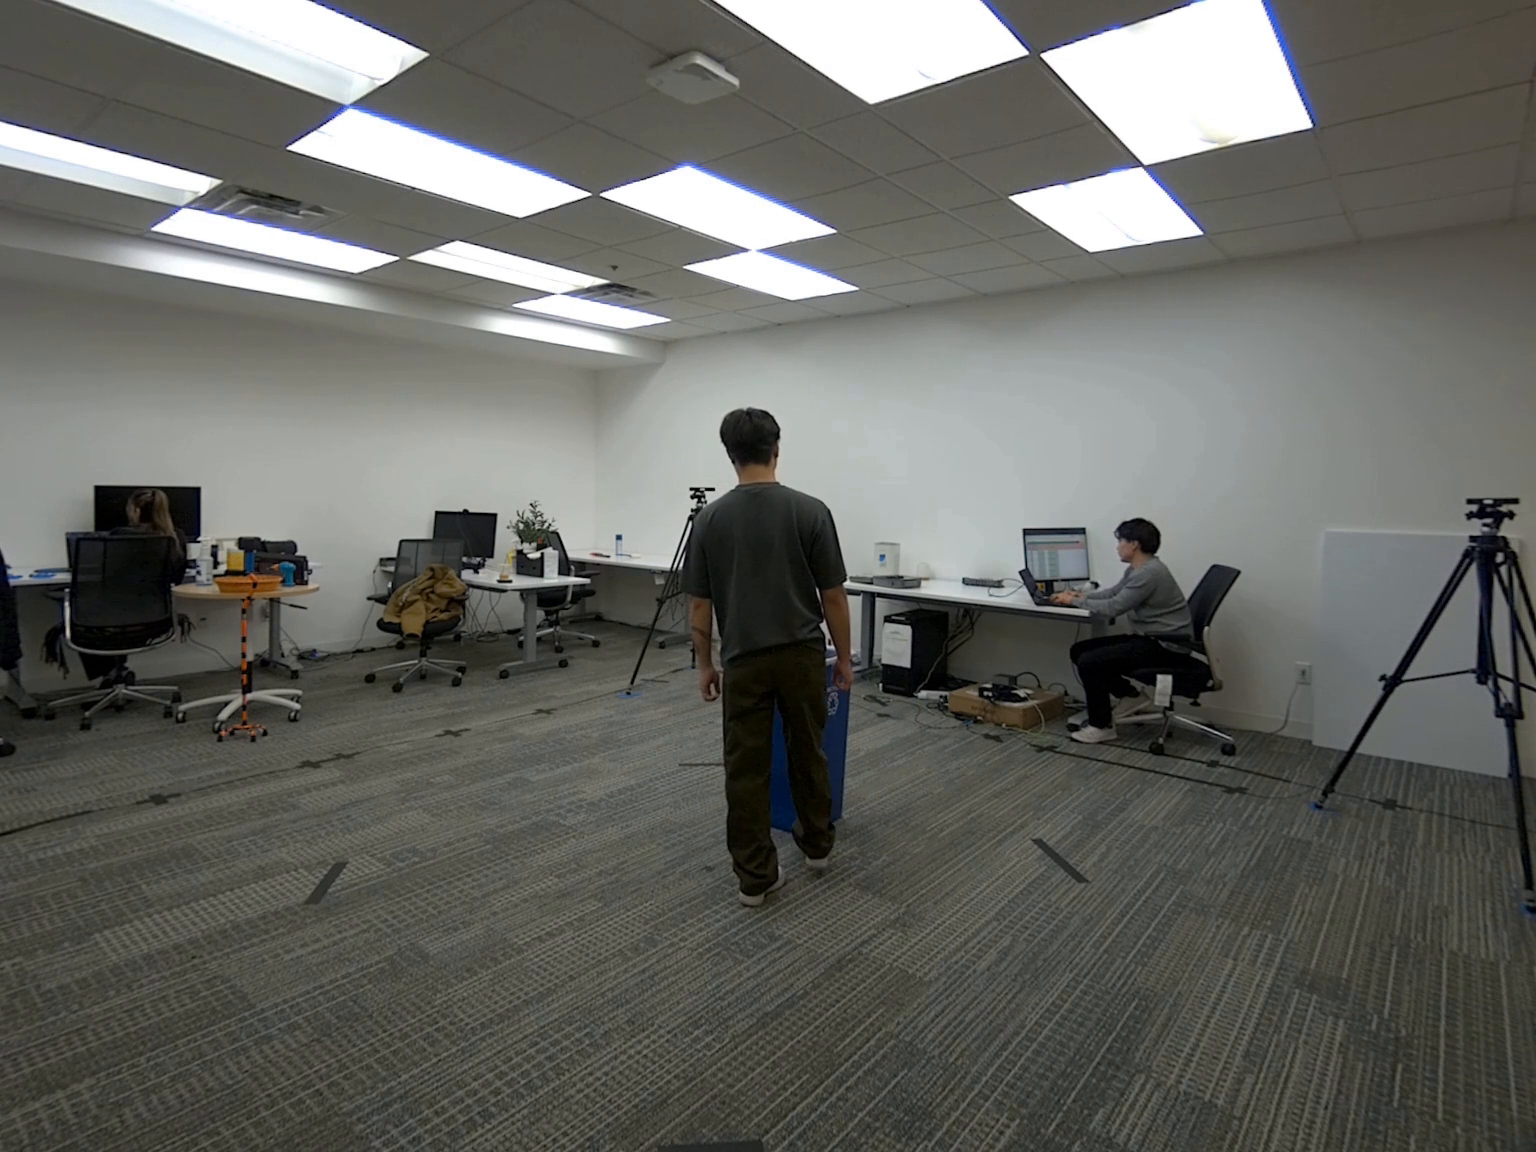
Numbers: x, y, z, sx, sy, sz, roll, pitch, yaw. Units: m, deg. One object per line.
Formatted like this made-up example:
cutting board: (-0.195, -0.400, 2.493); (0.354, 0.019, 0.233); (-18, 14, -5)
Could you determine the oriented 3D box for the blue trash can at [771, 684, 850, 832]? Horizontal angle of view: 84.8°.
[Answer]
blue trash can: (0.111, 0.663, 3.595); (0.386, 0.711, 0.367); (4, 4, 33)
